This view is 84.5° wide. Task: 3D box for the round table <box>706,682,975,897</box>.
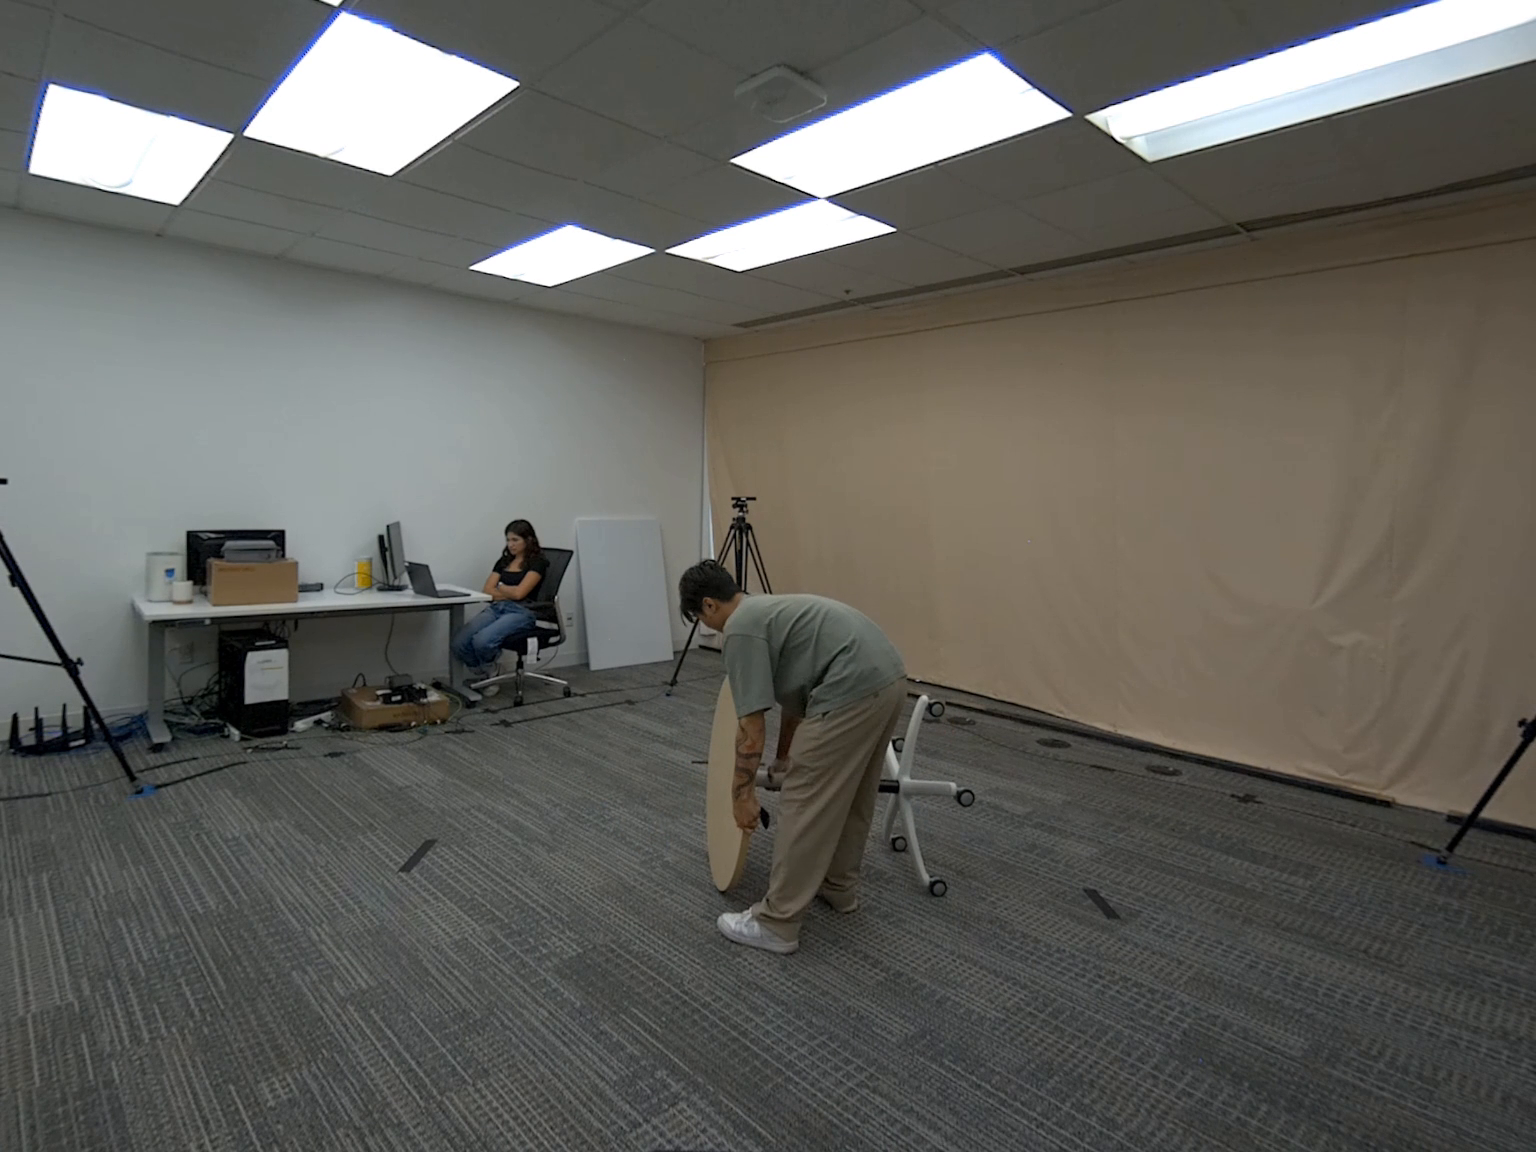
[{"bbox_3d":[0.231,0.779,3.118,0.779,0.784,0.794,7,3,-11],"label":"round table"}]
